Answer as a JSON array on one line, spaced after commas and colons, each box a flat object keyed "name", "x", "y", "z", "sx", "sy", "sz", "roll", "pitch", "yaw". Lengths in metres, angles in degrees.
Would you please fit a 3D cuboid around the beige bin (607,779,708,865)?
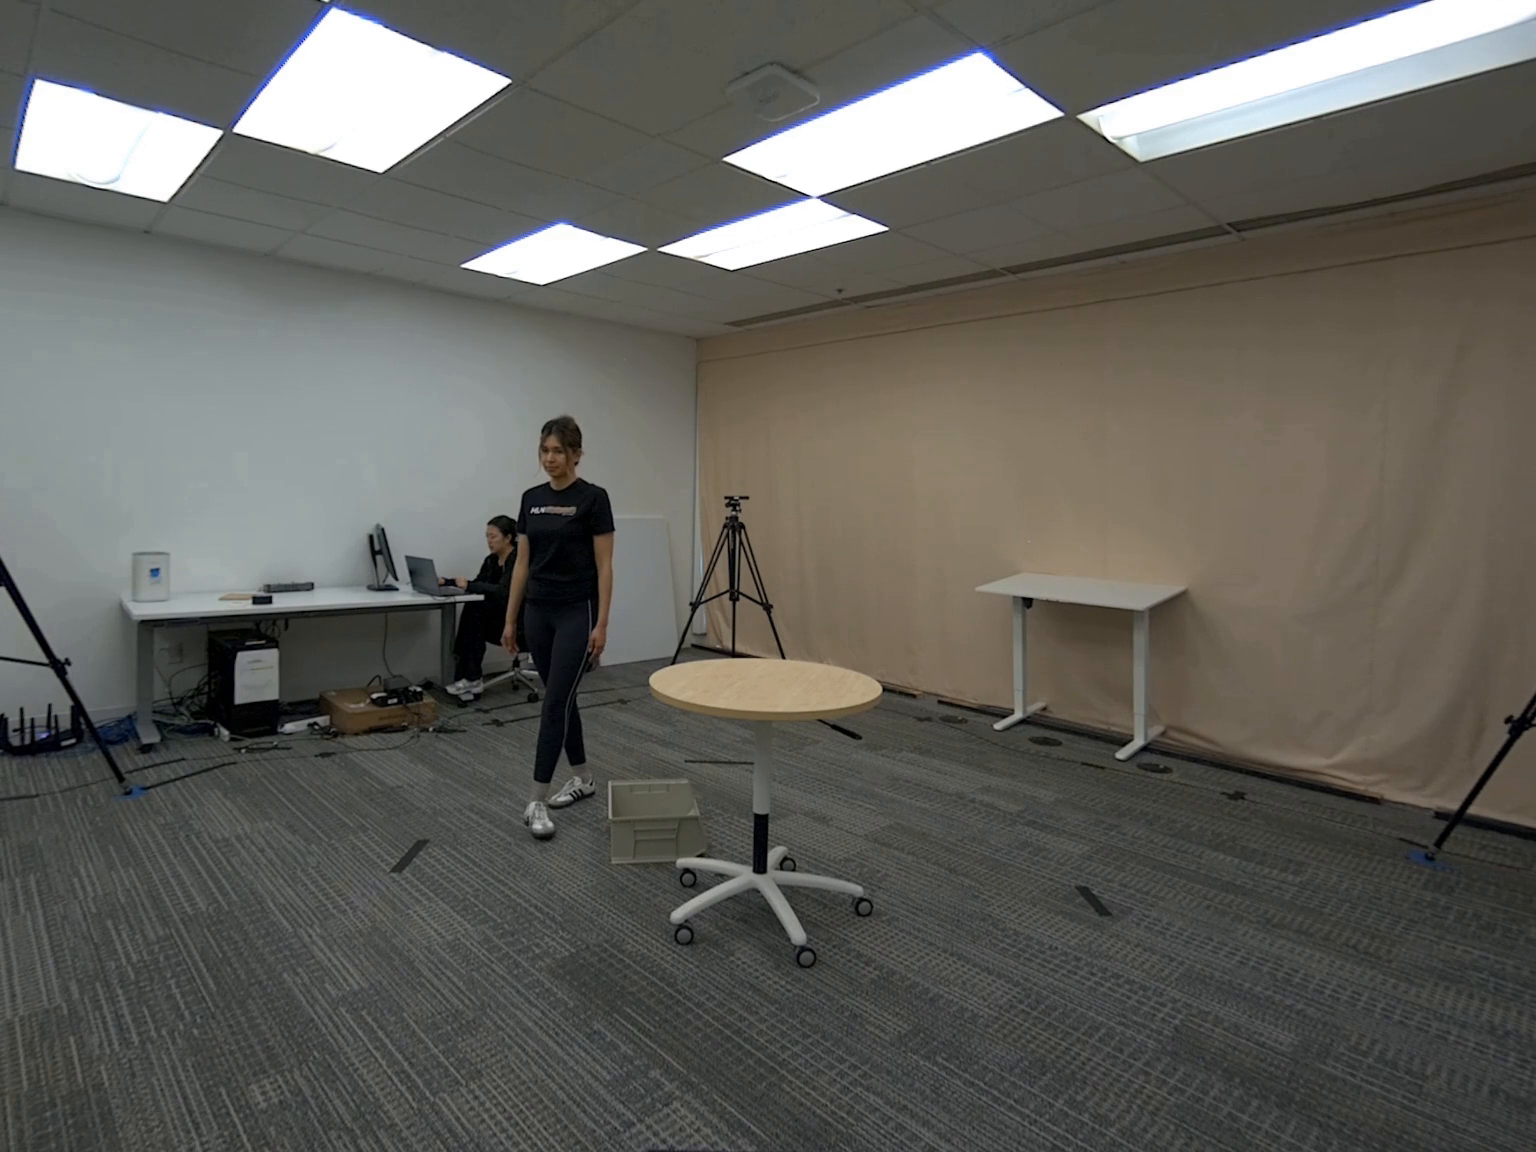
[{"name": "beige bin", "x": -0.462, "y": 0.985, "z": 3.398, "sx": 0.374, "sy": 0.188, "sz": 0.427, "roll": 0, "pitch": 5, "yaw": -11}]
